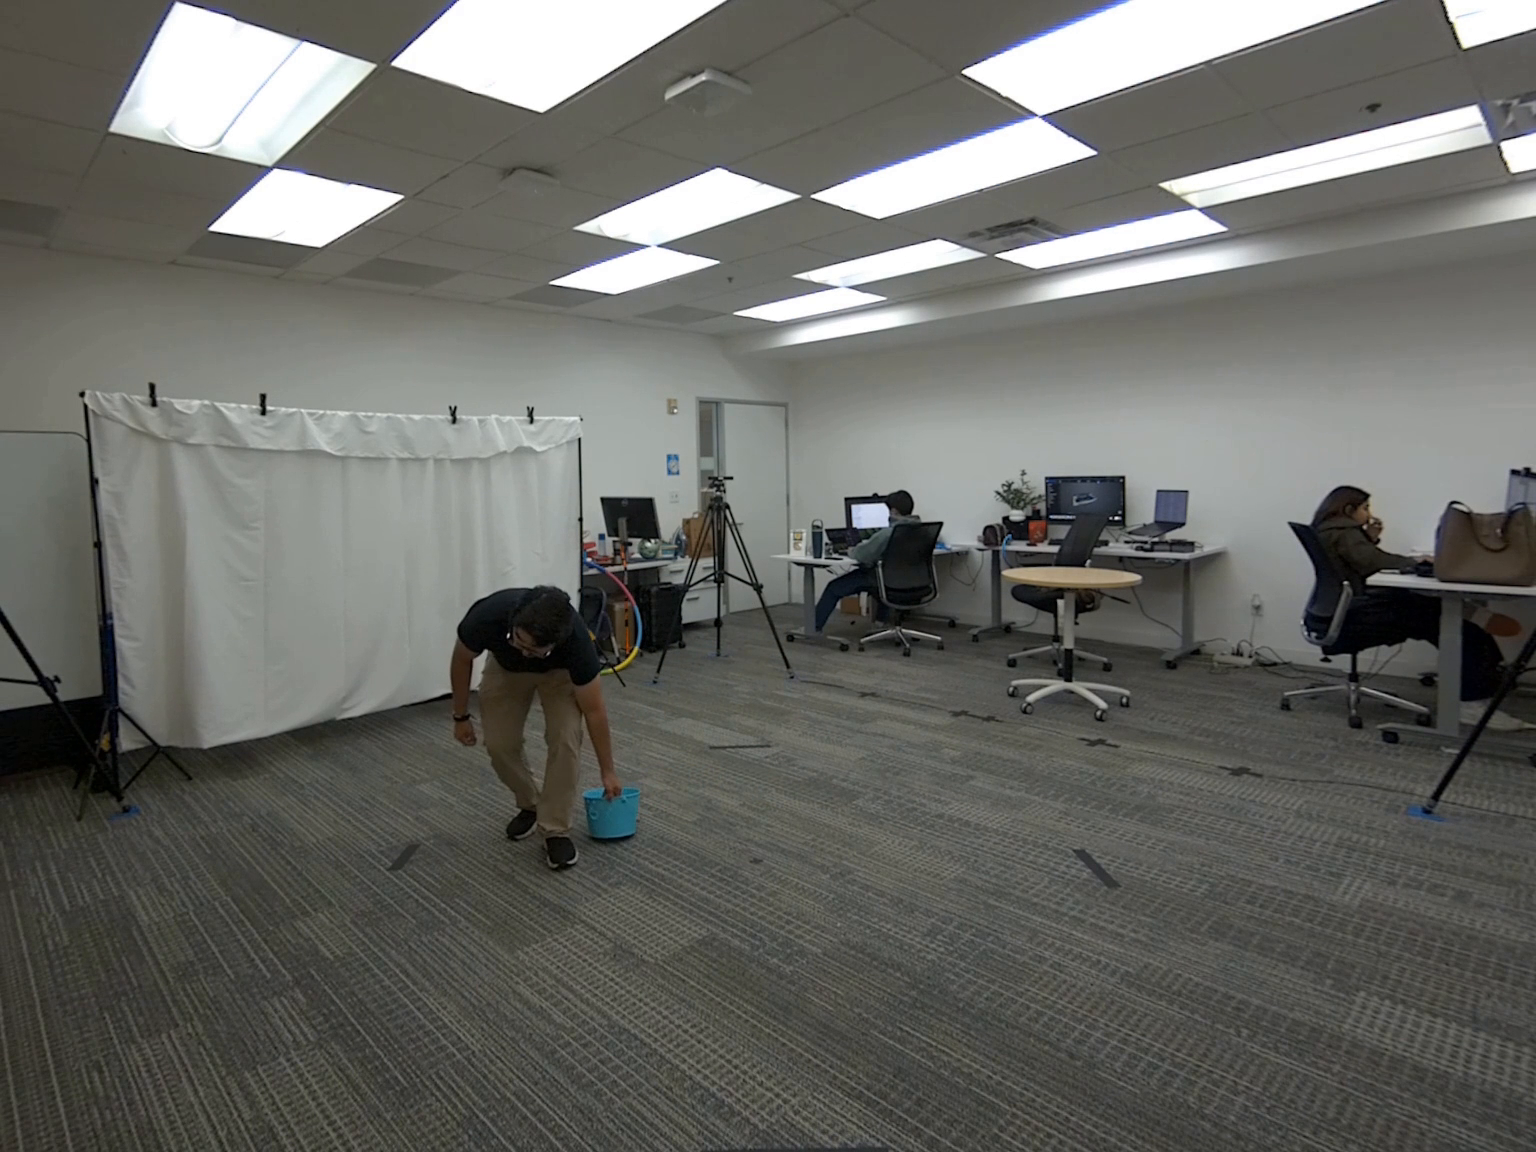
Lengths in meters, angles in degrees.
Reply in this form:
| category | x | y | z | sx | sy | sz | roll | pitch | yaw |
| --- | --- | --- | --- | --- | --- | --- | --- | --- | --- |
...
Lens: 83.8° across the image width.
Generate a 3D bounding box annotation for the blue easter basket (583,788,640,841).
| category | x | y | z | sx | sy | sz | roll | pitch | yaw |
| --- | --- | --- | --- | --- | --- | --- | --- | --- | --- |
| blue easter basket | -0.611 | 0.925 | 3.359 | 0.243 | 0.156 | 0.243 | -2 | -3 | -2 |
